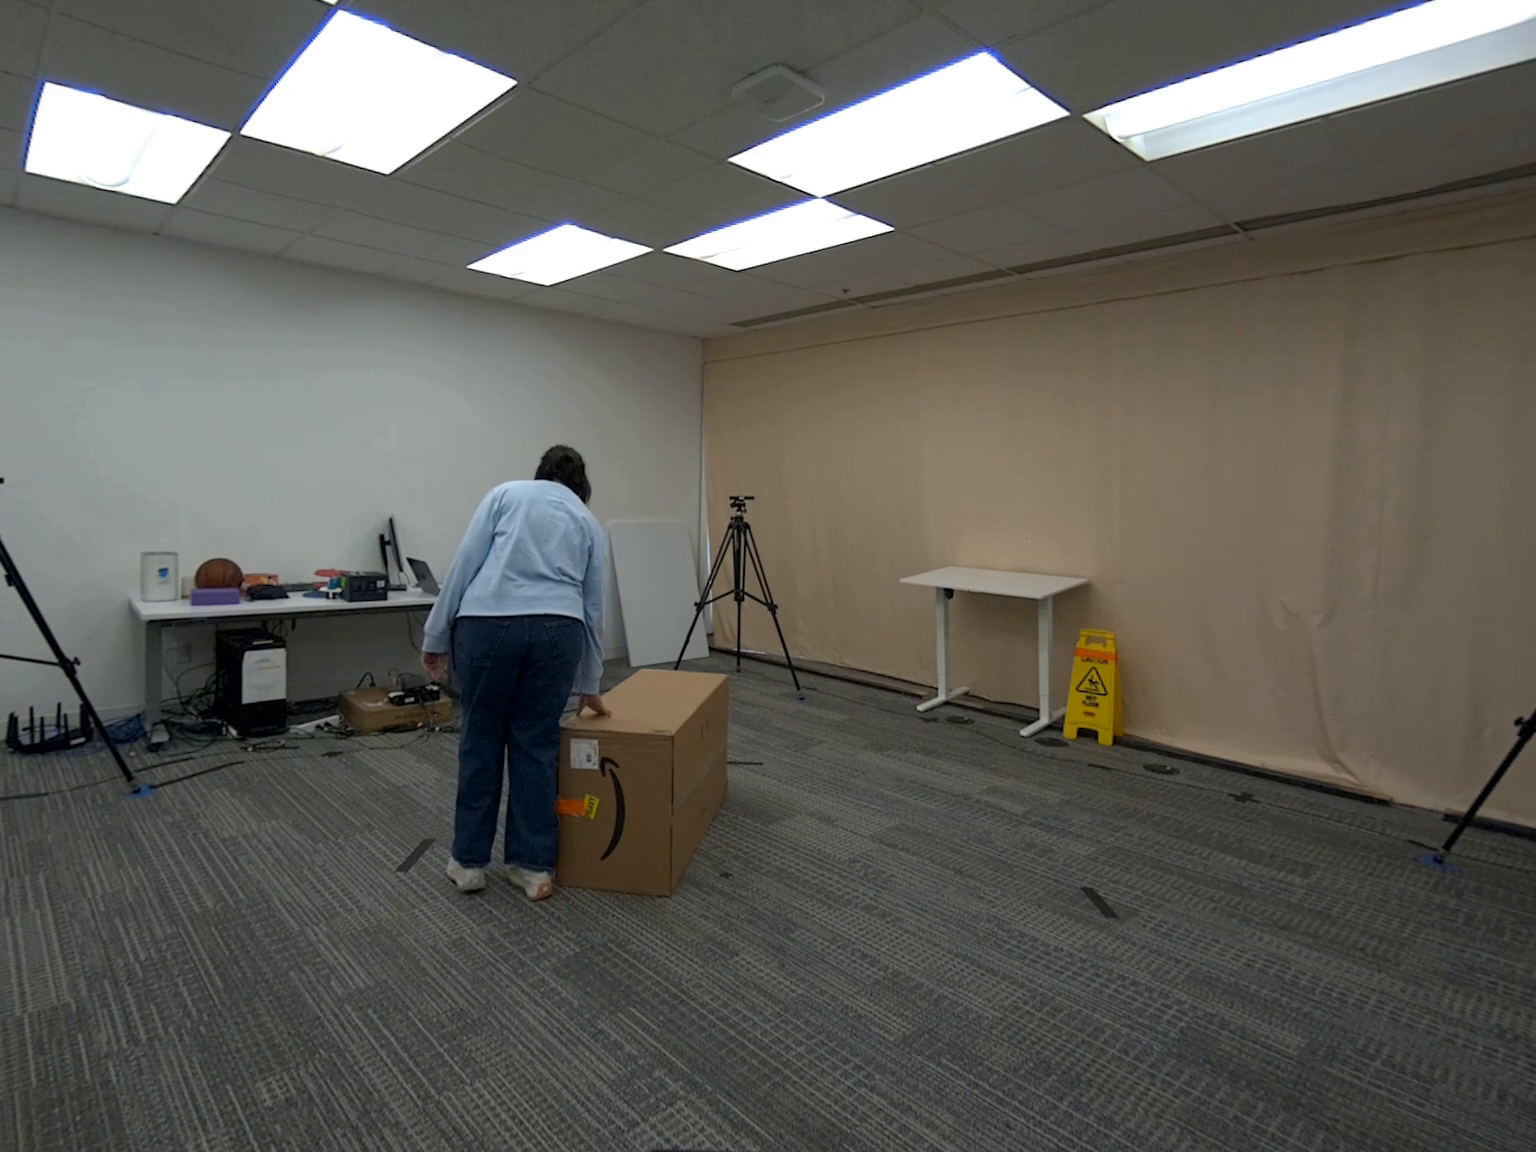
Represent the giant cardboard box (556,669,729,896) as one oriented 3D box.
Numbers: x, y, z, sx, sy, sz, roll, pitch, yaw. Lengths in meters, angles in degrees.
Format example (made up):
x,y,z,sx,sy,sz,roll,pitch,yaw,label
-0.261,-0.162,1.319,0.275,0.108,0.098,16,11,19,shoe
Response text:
x,y,z,sx,sy,sz,roll,pitch,yaw,label
-0.471,0.776,3.447,0.429,0.576,1.021,1,5,8,giant cardboard box
